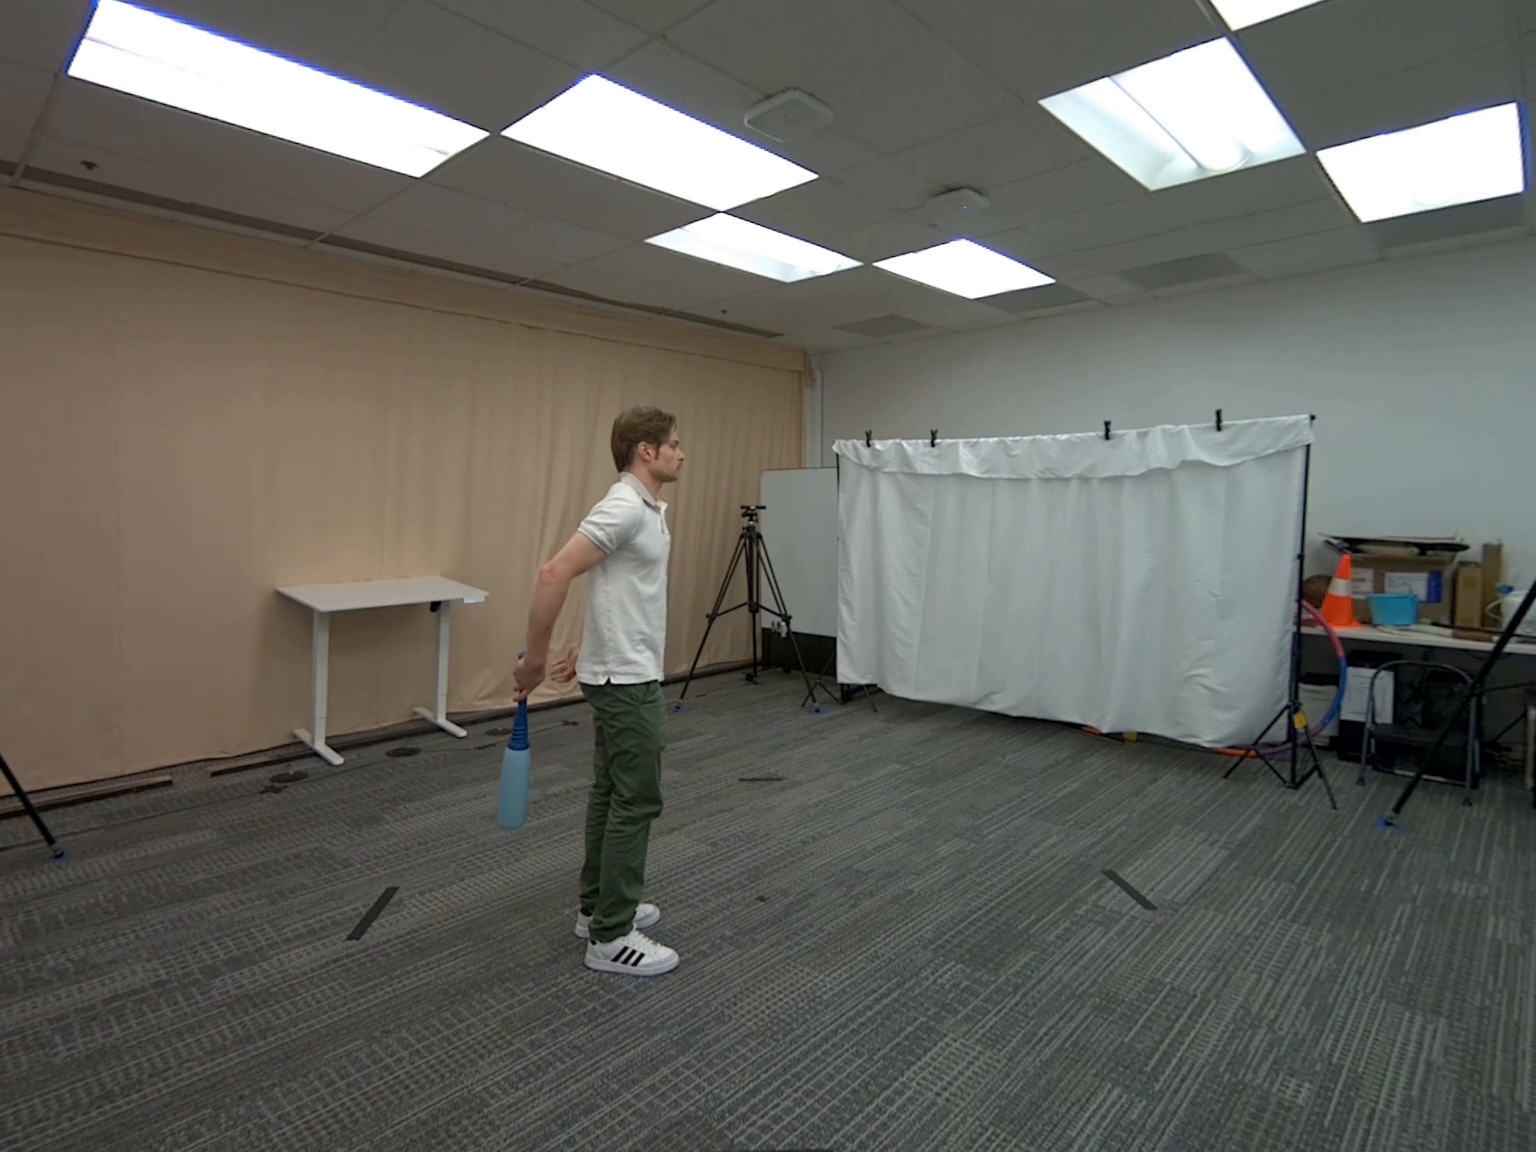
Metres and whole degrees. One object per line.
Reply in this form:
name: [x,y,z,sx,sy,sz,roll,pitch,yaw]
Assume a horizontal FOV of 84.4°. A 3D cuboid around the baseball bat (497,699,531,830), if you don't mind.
baseball bat: [-0.737,0.501,2.534,0.089,0.541,0.089,6,7,-3]
